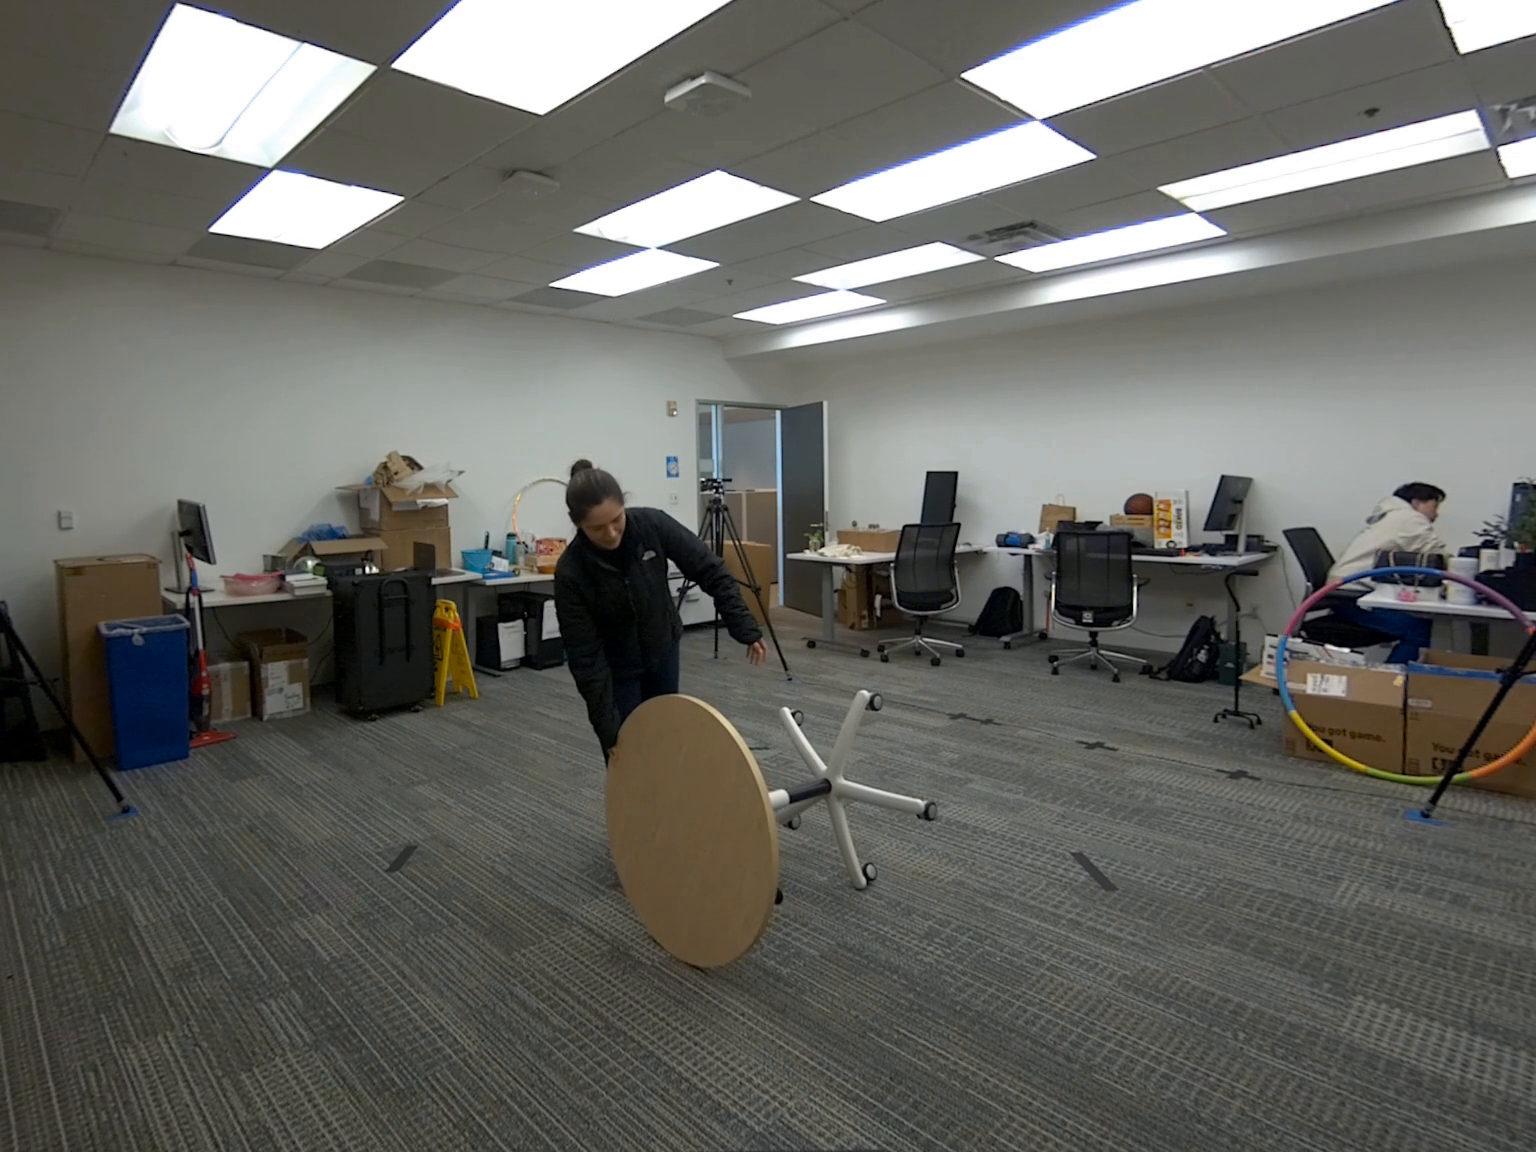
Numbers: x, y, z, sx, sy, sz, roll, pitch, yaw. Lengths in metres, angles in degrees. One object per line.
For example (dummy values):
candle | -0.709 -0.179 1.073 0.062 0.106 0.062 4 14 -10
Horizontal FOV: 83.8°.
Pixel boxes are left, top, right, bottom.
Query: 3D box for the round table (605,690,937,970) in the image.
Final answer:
round table | 0.018 0.721 2.779 0.764 0.784 0.809 -1 4 -44
